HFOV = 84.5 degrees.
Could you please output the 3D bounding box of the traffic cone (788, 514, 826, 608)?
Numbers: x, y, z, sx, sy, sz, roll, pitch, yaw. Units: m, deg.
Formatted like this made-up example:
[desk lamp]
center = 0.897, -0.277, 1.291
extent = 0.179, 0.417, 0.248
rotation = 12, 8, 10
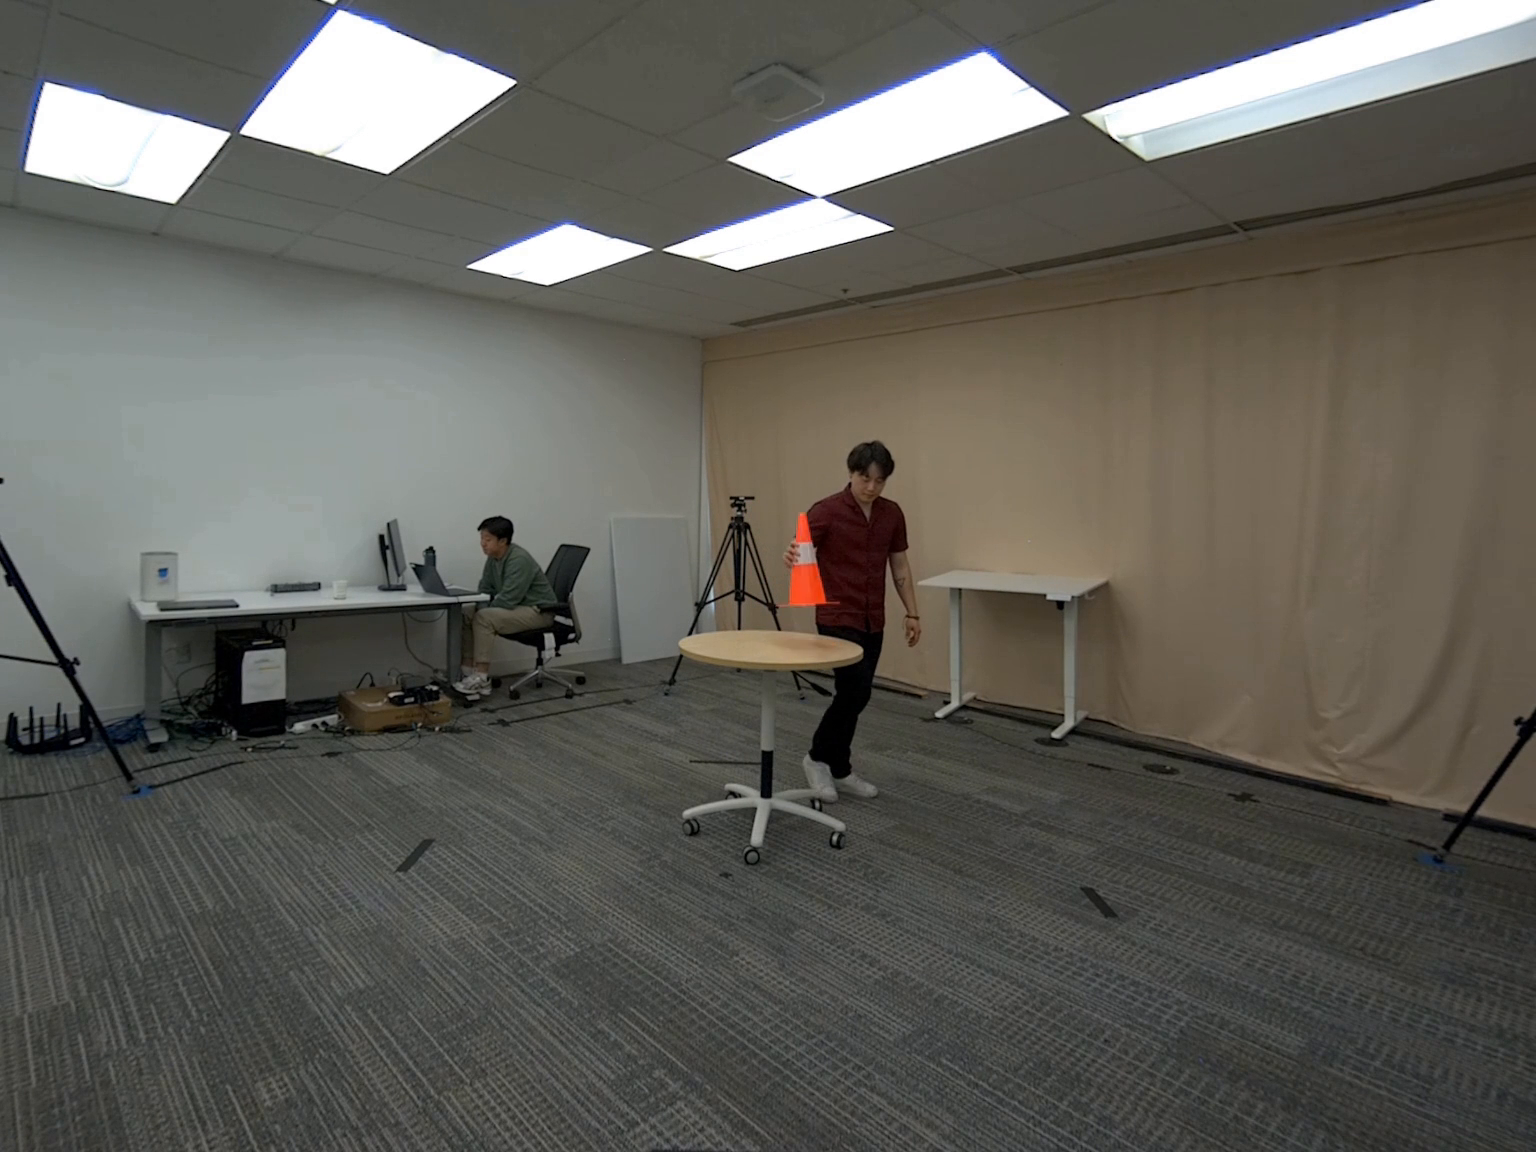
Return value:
[traffic cone]
center = 0.154, -0.067, 3.535
extent = 0.200, 0.385, 0.208
rotation = 1, -4, -42
